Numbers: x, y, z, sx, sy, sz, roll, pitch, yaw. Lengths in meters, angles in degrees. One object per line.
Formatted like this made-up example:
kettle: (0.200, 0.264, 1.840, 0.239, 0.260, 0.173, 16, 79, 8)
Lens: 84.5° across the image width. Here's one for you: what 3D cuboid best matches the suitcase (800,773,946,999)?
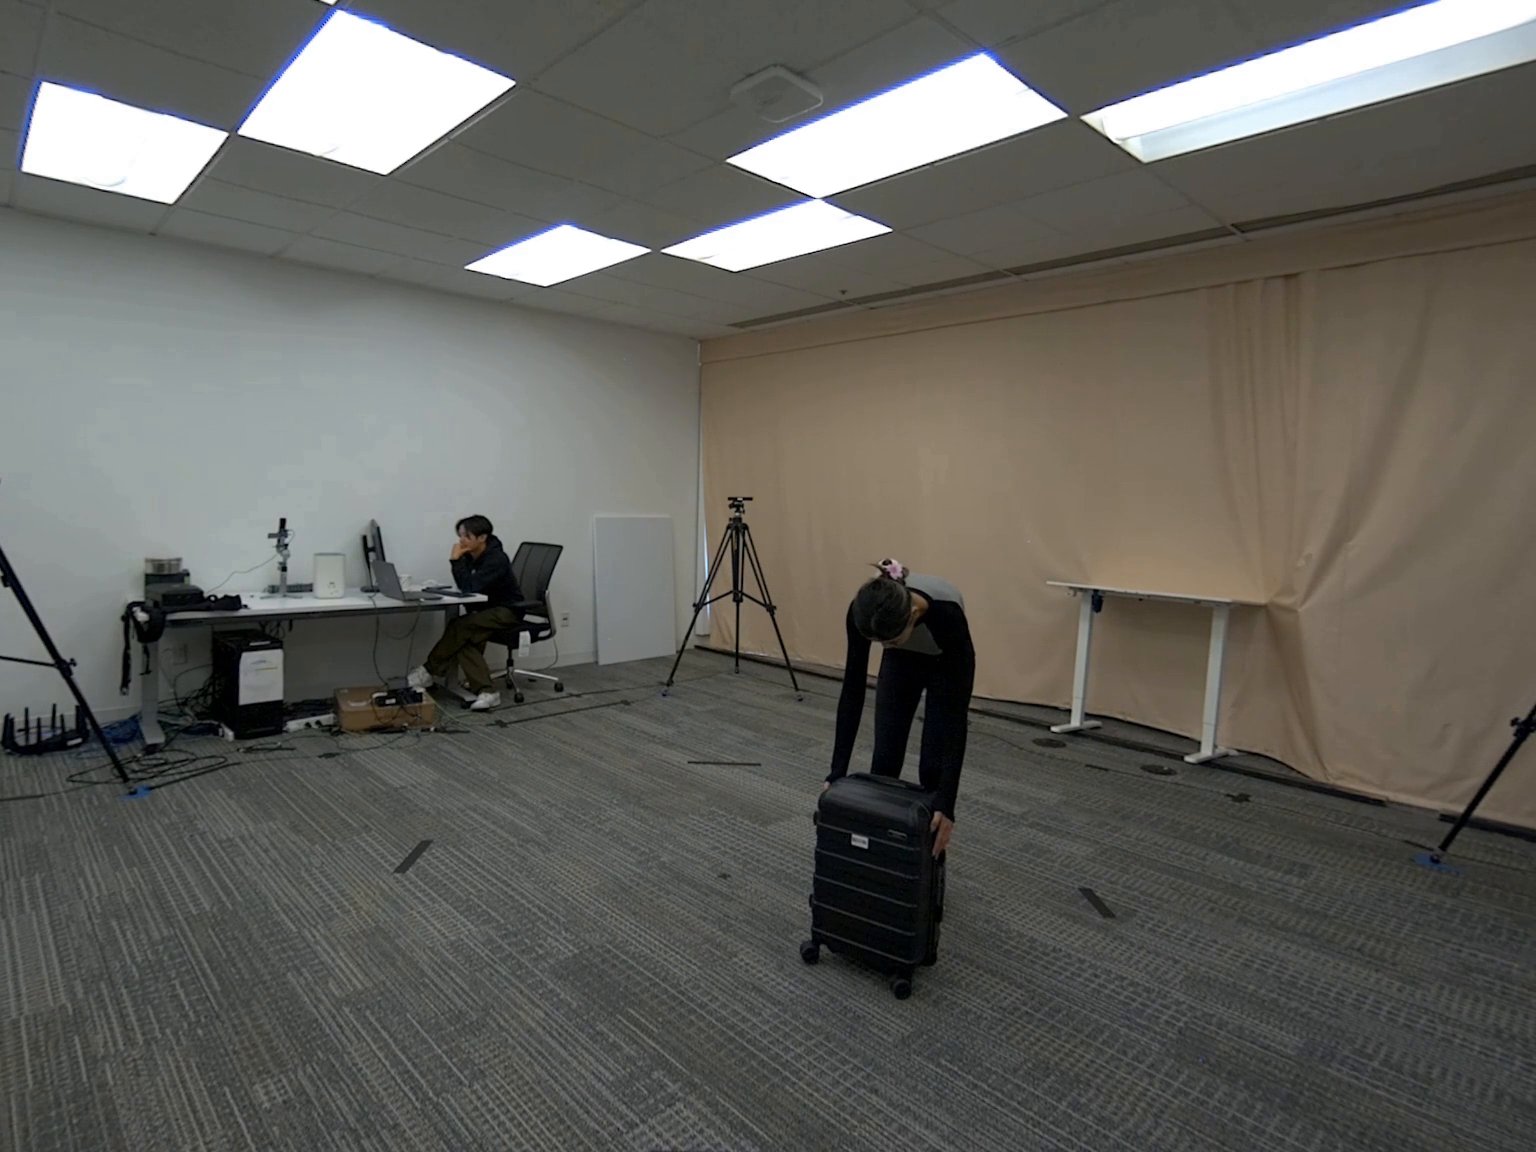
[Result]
suitcase: (0.322, 0.900, 2.532, 0.384, 0.548, 0.243, 6, 4, 33)
